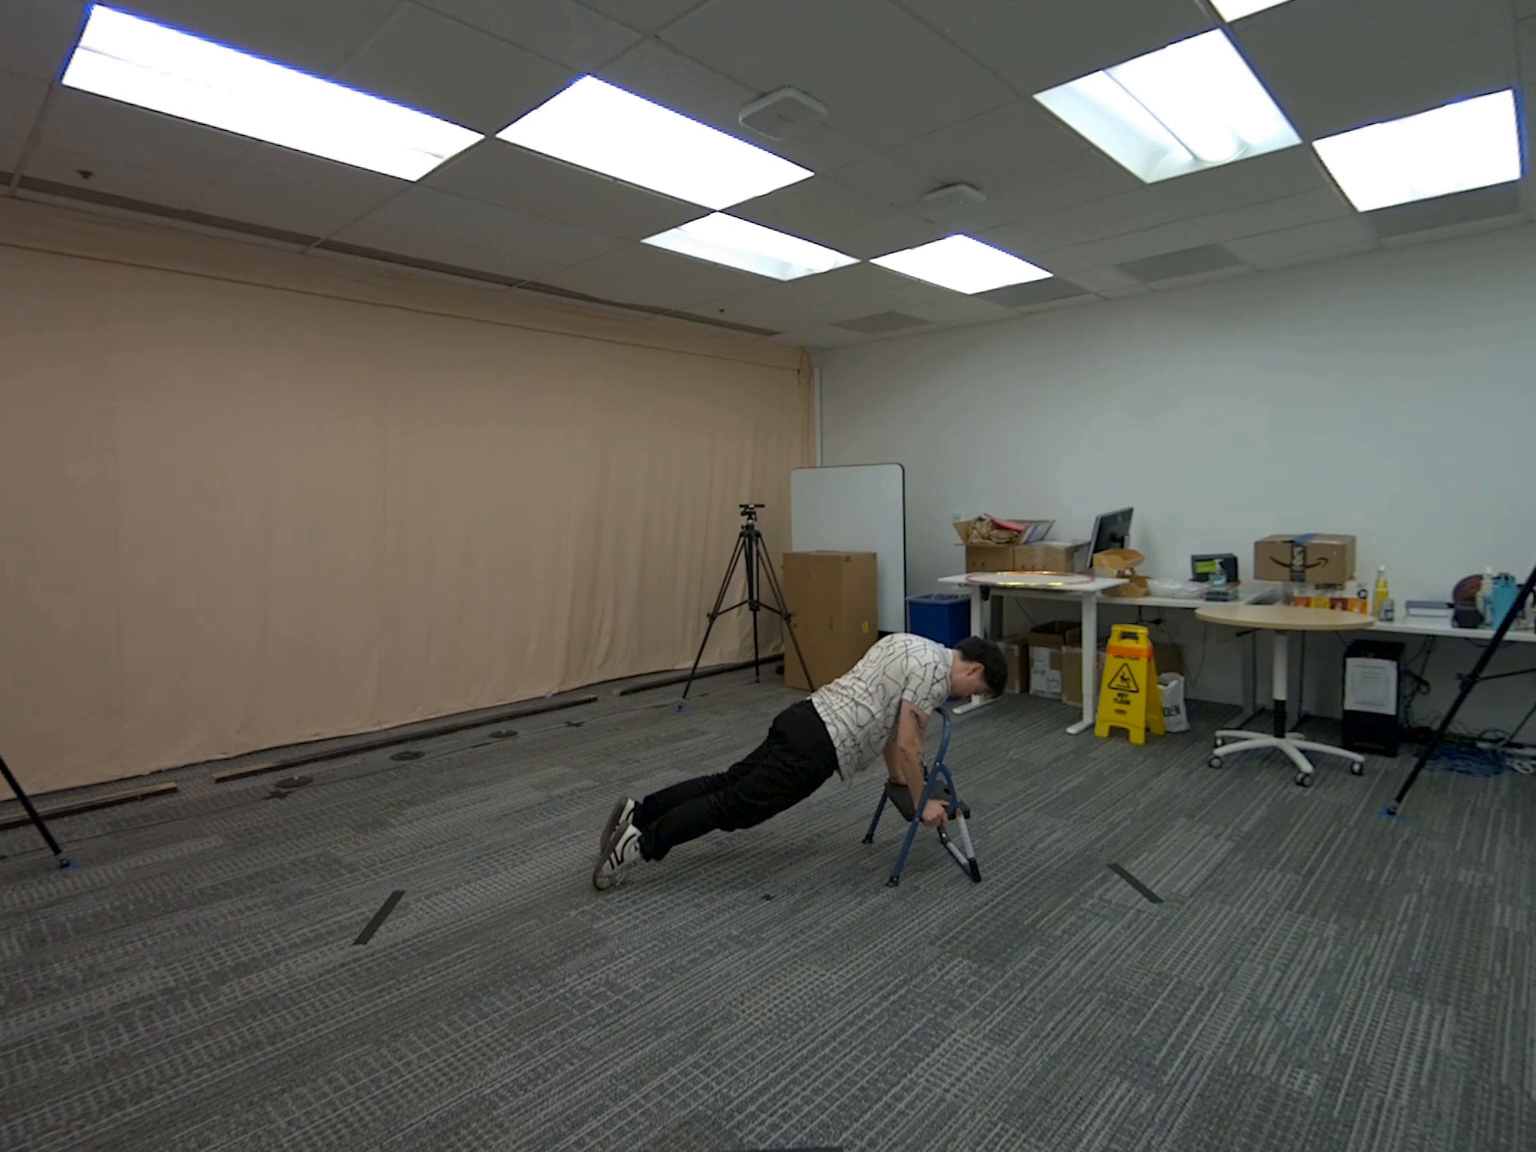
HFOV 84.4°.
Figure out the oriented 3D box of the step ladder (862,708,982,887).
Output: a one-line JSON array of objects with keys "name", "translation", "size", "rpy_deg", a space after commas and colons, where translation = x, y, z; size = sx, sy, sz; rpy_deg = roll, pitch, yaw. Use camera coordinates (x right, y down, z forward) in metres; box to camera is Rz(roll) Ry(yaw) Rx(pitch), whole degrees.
[{"name": "step ladder", "translation": [0.587, 0.809, 3.246], "size": [0.347, 0.604, 0.434], "rpy_deg": [-1, 4, -6]}]
